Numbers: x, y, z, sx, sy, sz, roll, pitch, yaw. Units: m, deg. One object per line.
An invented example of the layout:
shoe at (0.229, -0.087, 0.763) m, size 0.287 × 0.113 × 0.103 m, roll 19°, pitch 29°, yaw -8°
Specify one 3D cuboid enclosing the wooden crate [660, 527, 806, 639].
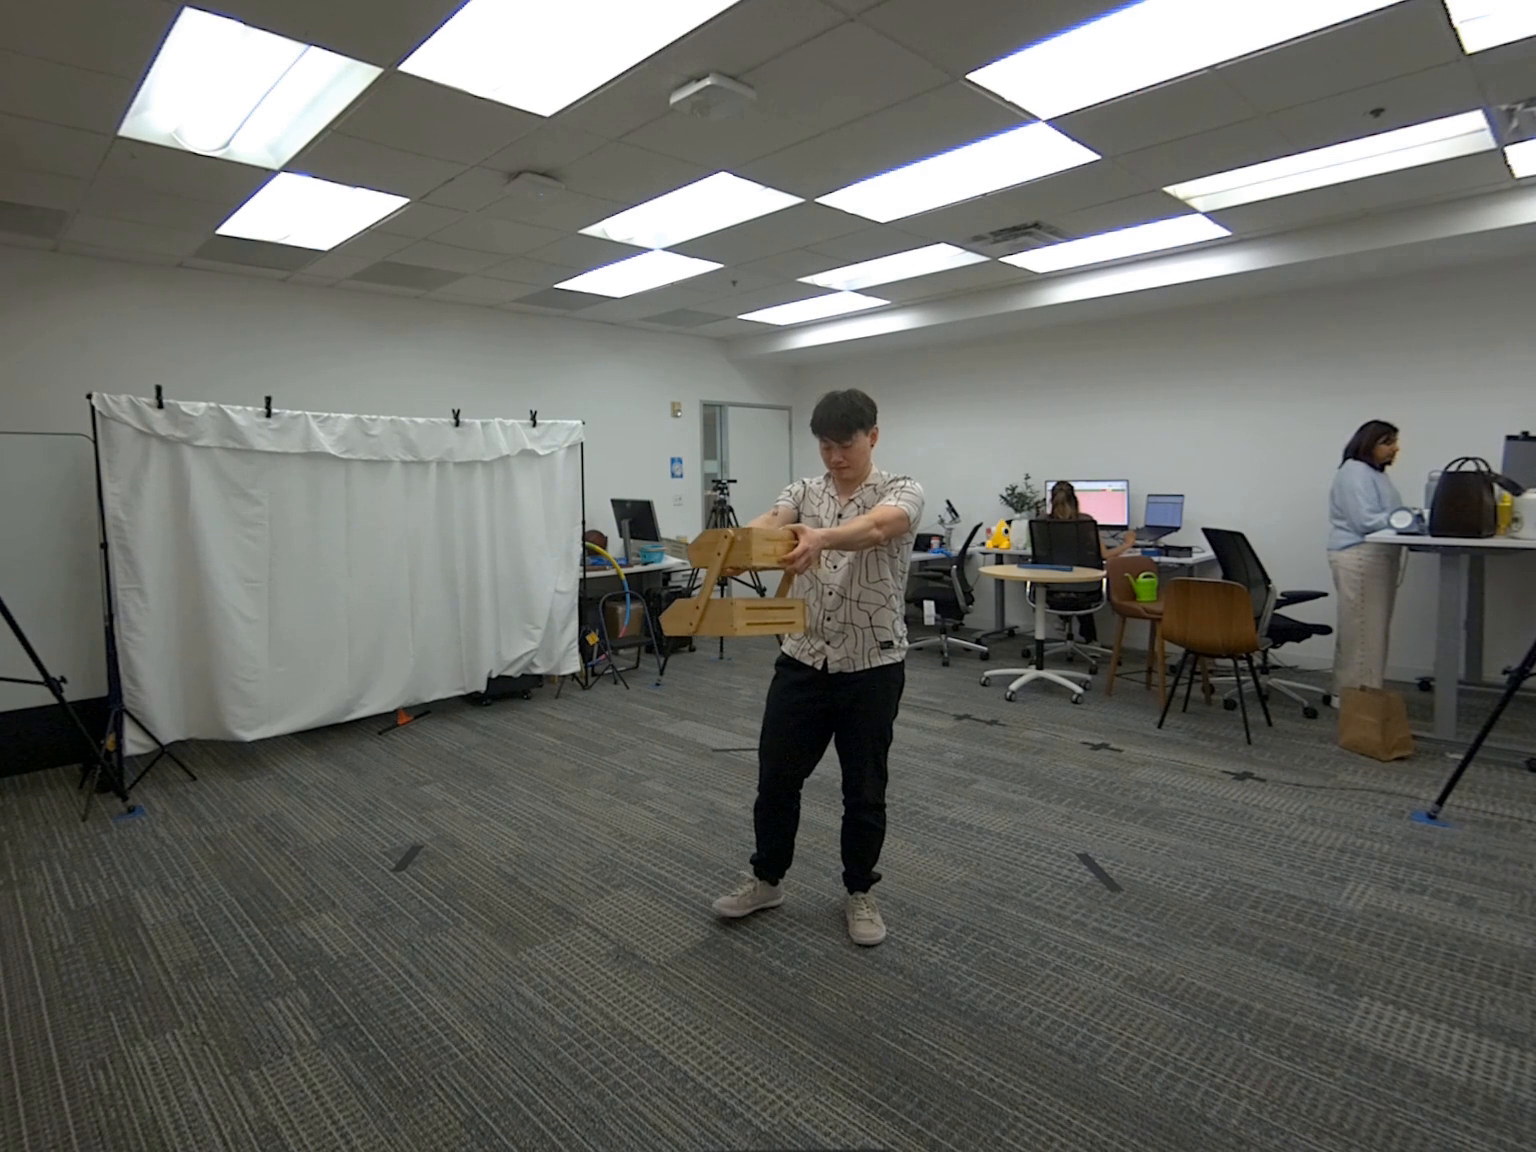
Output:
wooden crate at (-0.066, 0.019, 2.214) m, size 0.310 × 0.274 × 0.315 m, roll -3°, pitch -3°, yaw 38°
